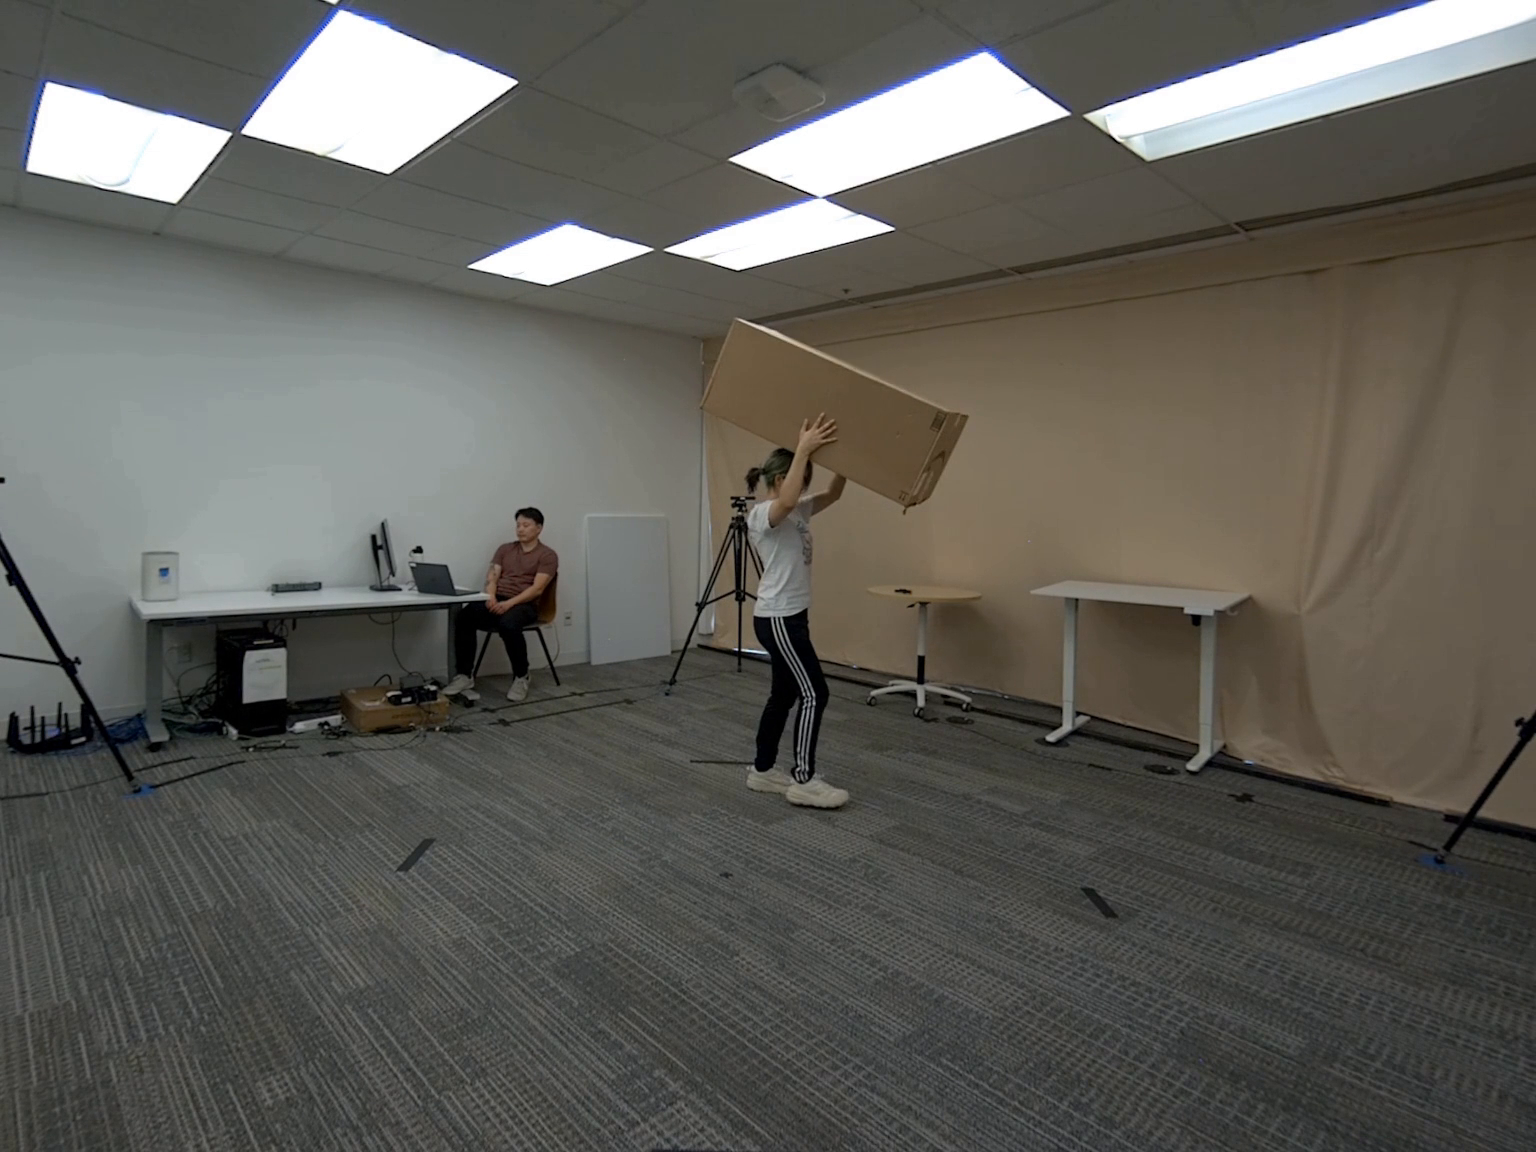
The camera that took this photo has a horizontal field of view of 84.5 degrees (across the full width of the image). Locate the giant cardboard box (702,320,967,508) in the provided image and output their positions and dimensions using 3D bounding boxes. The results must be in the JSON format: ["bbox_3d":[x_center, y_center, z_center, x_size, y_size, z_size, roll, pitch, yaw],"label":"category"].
[{"bbox_3d":[0.304,-0.733,3.809,1.045,0.444,0.577,29,16,16],"label":"giant cardboard box"}]
